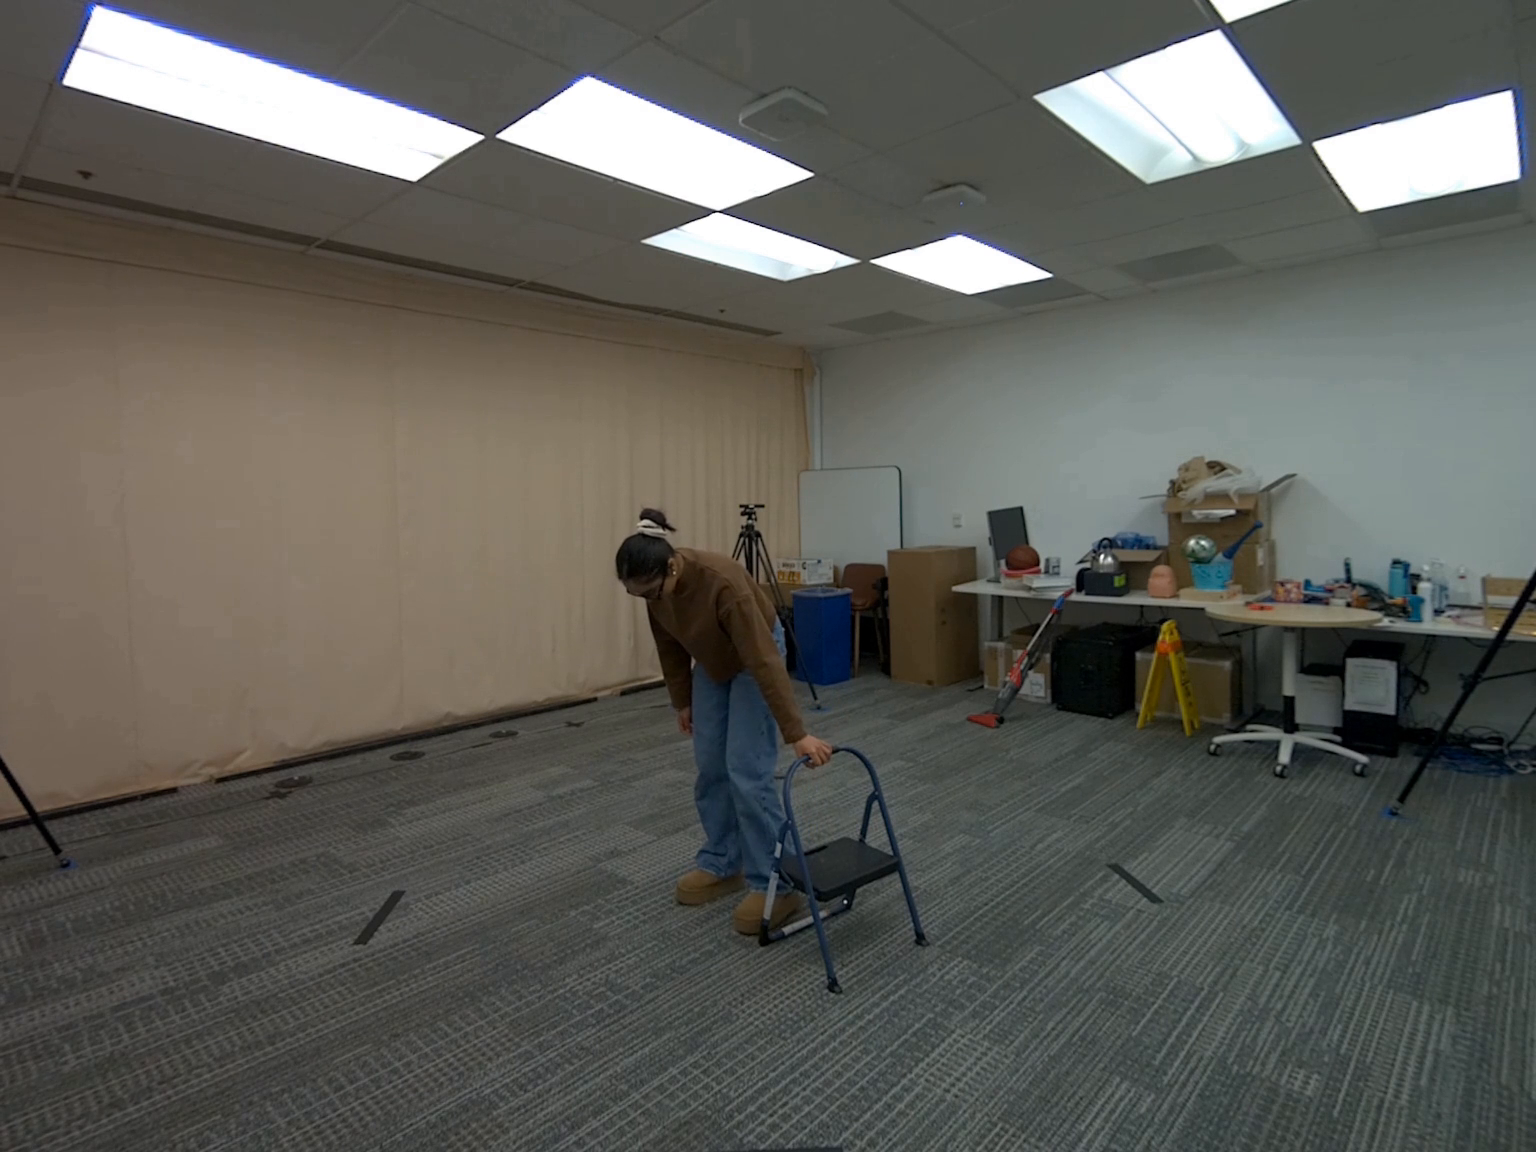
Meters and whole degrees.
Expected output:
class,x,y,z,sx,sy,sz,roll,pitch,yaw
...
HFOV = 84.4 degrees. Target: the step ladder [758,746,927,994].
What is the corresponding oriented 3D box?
class,x,y,z,sx,sy,sz,roll,pitch,yaw
step ladder,0.238,0.861,2.640,0.418,0.605,0.360,-4,4,-40
